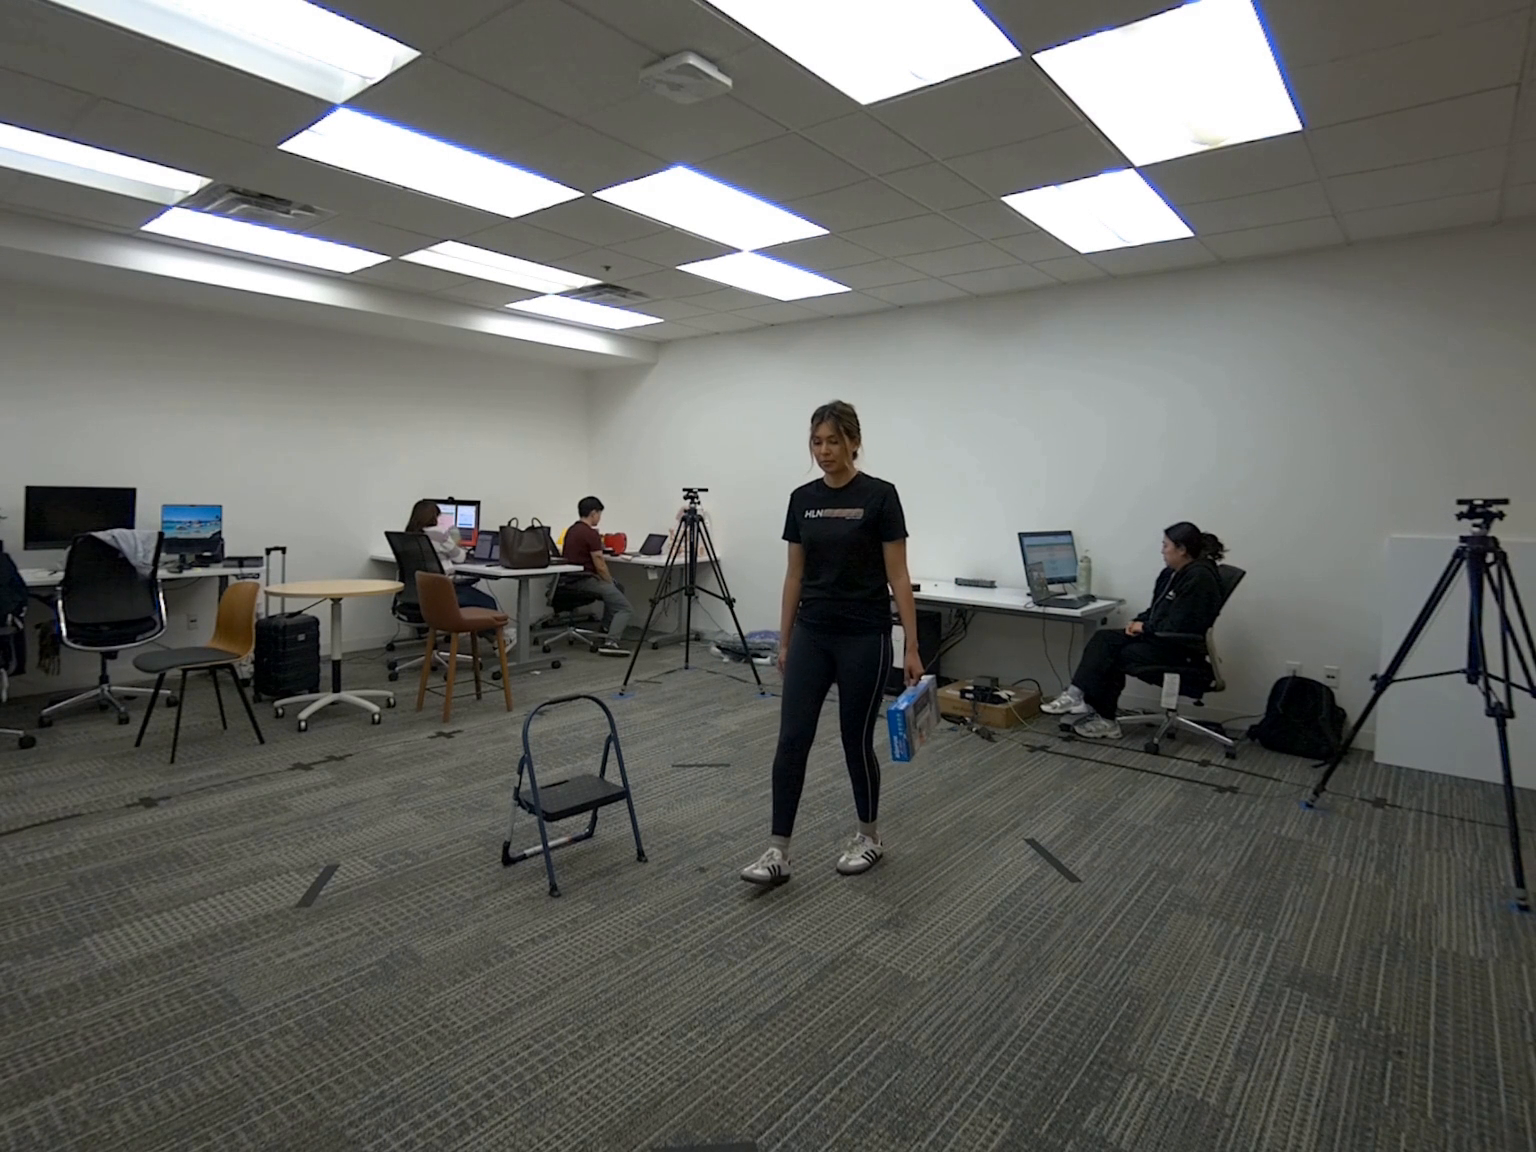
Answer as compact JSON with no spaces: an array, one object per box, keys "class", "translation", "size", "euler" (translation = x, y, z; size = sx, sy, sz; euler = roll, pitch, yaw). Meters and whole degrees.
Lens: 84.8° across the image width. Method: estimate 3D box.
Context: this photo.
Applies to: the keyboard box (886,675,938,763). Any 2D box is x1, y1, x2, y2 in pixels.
[{"class":"keyboard box","translation":[0.491,0.478,2.924],"size":[0.060,0.175,0.429],"euler":[-5,6,26]}]
